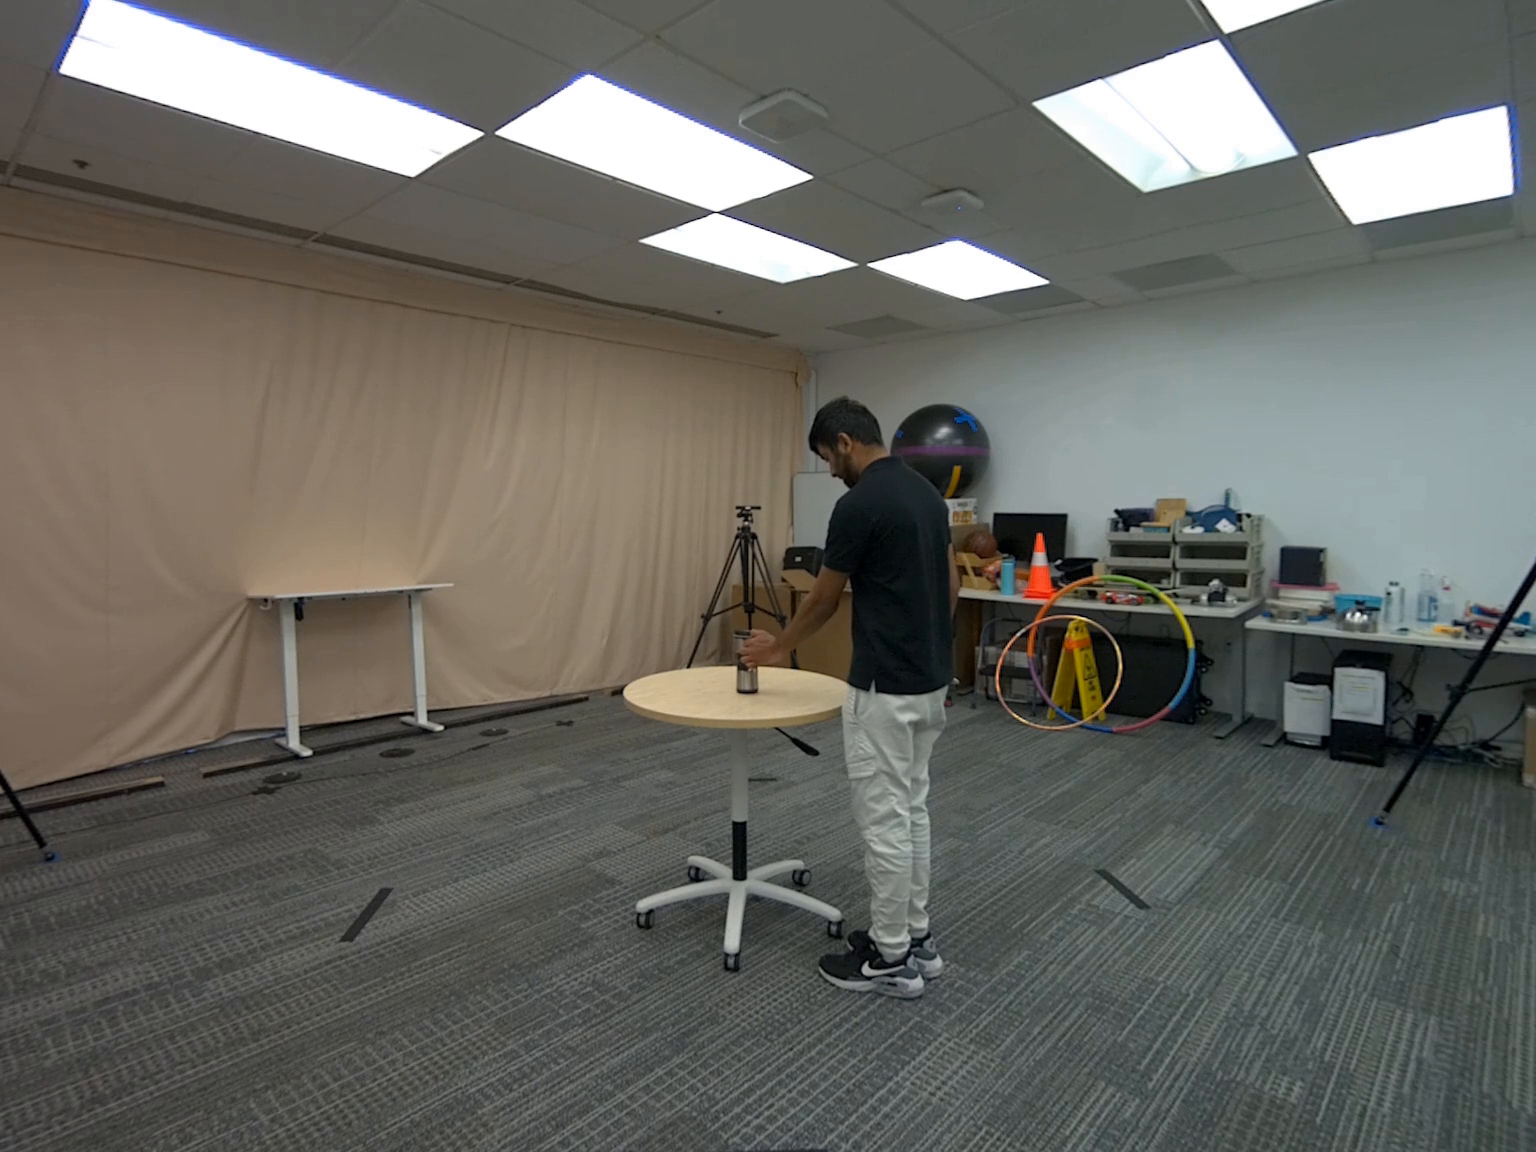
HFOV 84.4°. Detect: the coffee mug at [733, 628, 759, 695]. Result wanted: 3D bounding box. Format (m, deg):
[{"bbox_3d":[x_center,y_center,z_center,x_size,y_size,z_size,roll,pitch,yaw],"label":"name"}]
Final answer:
[{"bbox_3d":[-0.077,0.282,2.738,0.090,0.203,0.119,4,-2,20],"label":"coffee mug"}]
